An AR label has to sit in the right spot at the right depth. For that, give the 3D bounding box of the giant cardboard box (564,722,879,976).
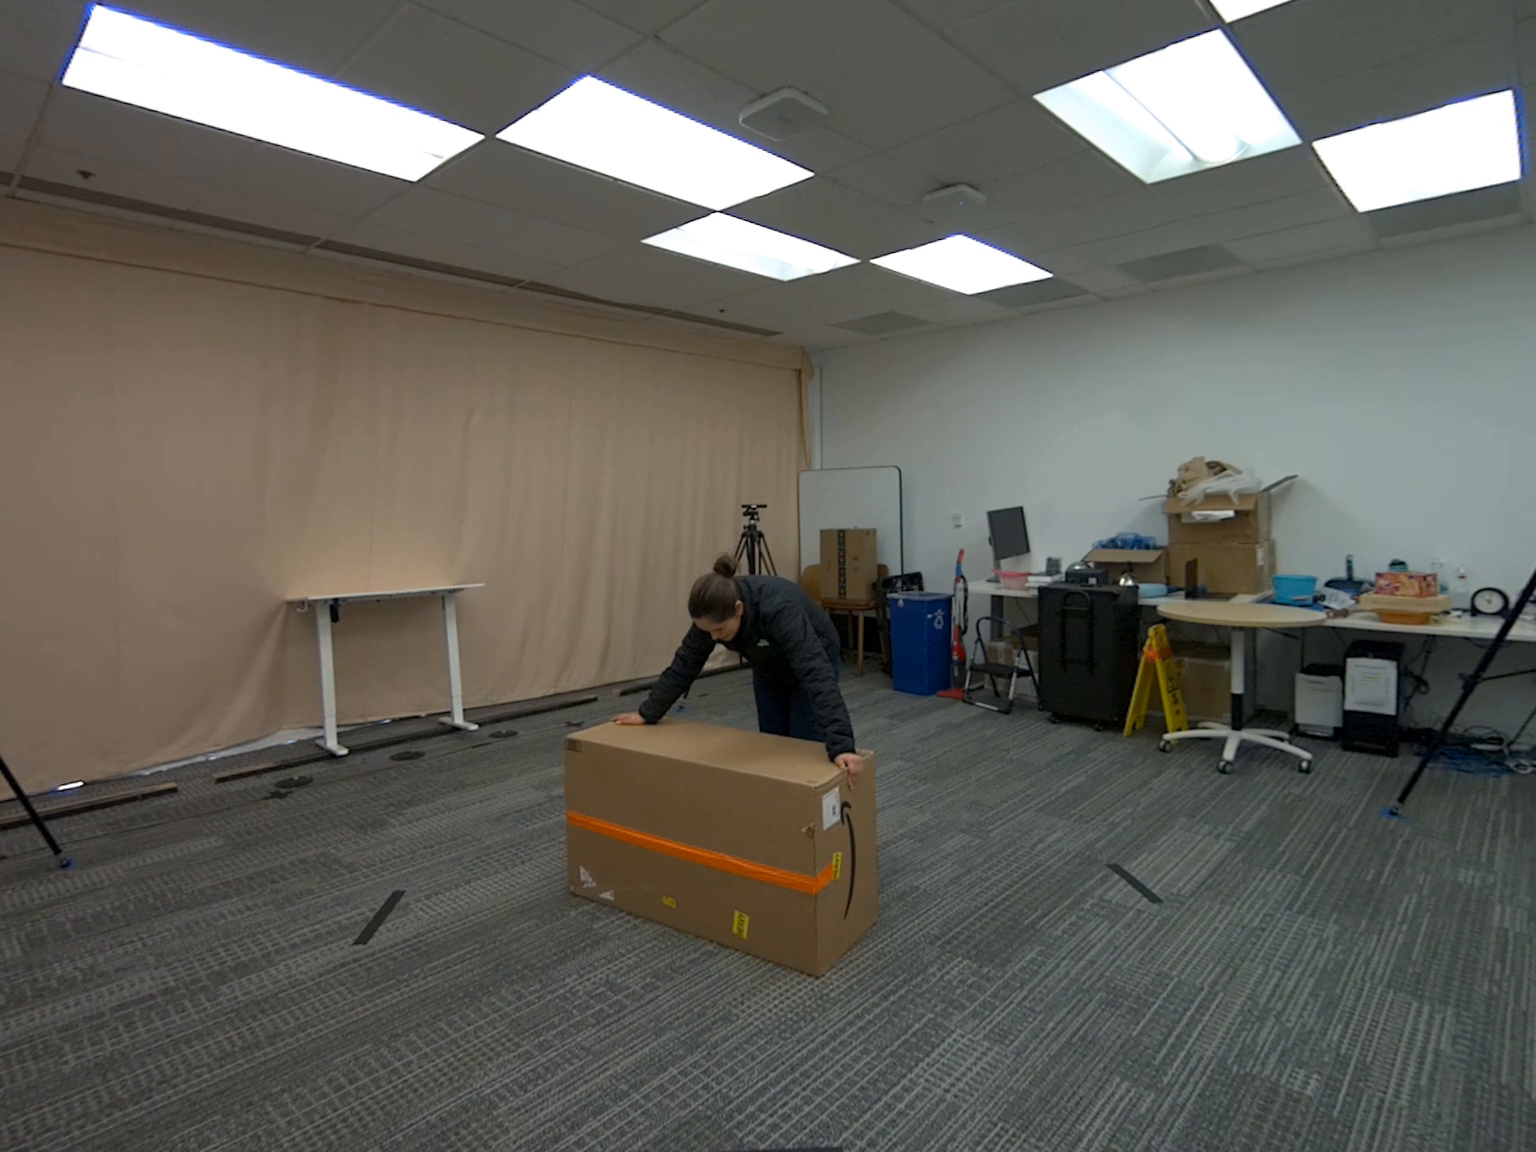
[{"bbox_3d":[-0.168,0.865,2.912,1.058,0.583,0.434,2,3,34],"label":"giant cardboard box"}]
